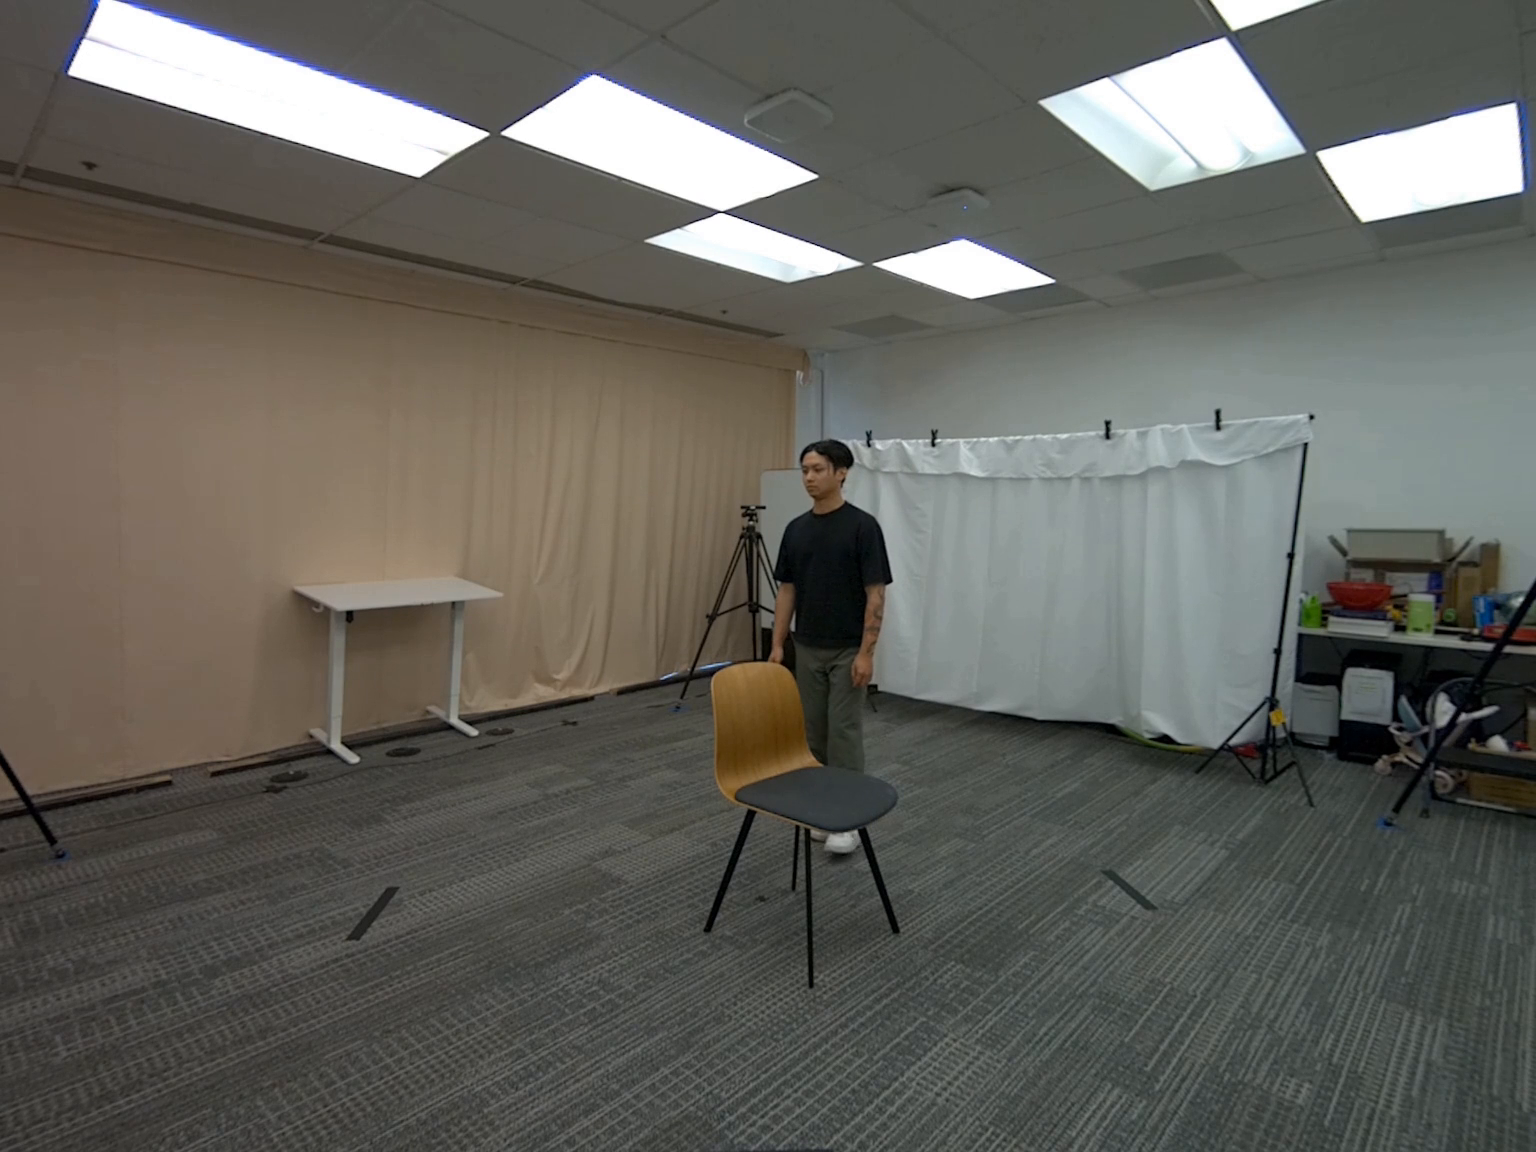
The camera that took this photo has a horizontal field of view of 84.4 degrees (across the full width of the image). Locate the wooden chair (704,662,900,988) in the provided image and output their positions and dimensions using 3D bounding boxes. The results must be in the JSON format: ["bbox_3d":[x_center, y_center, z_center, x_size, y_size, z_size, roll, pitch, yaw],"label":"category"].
[{"bbox_3d":[0.116,0.743,2.704,0.540,0.877,0.463,-2,1,45],"label":"wooden chair"}]
